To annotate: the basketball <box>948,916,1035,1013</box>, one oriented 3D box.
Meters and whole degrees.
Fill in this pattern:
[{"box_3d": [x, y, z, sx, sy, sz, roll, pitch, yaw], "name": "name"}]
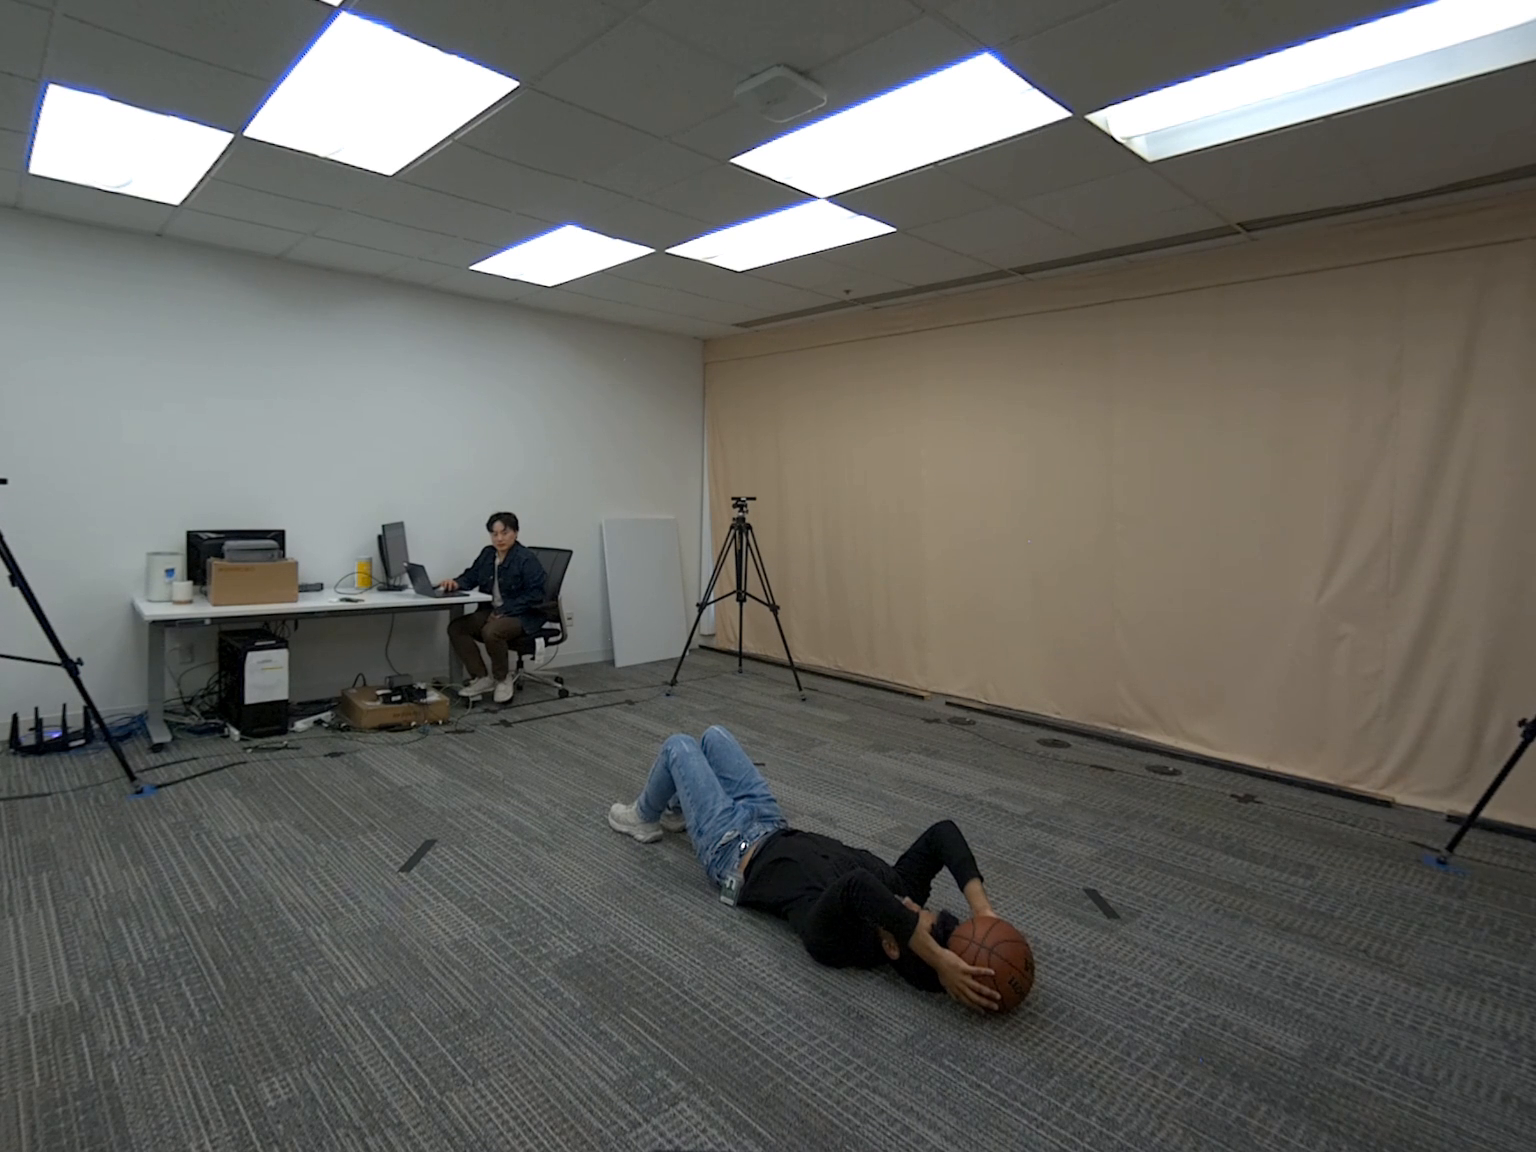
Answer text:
[{"box_3d": [0.604, 1.080, 2.337, 0.236, 0.235, 0.237, 1, 4, -1], "name": "basketball"}]
